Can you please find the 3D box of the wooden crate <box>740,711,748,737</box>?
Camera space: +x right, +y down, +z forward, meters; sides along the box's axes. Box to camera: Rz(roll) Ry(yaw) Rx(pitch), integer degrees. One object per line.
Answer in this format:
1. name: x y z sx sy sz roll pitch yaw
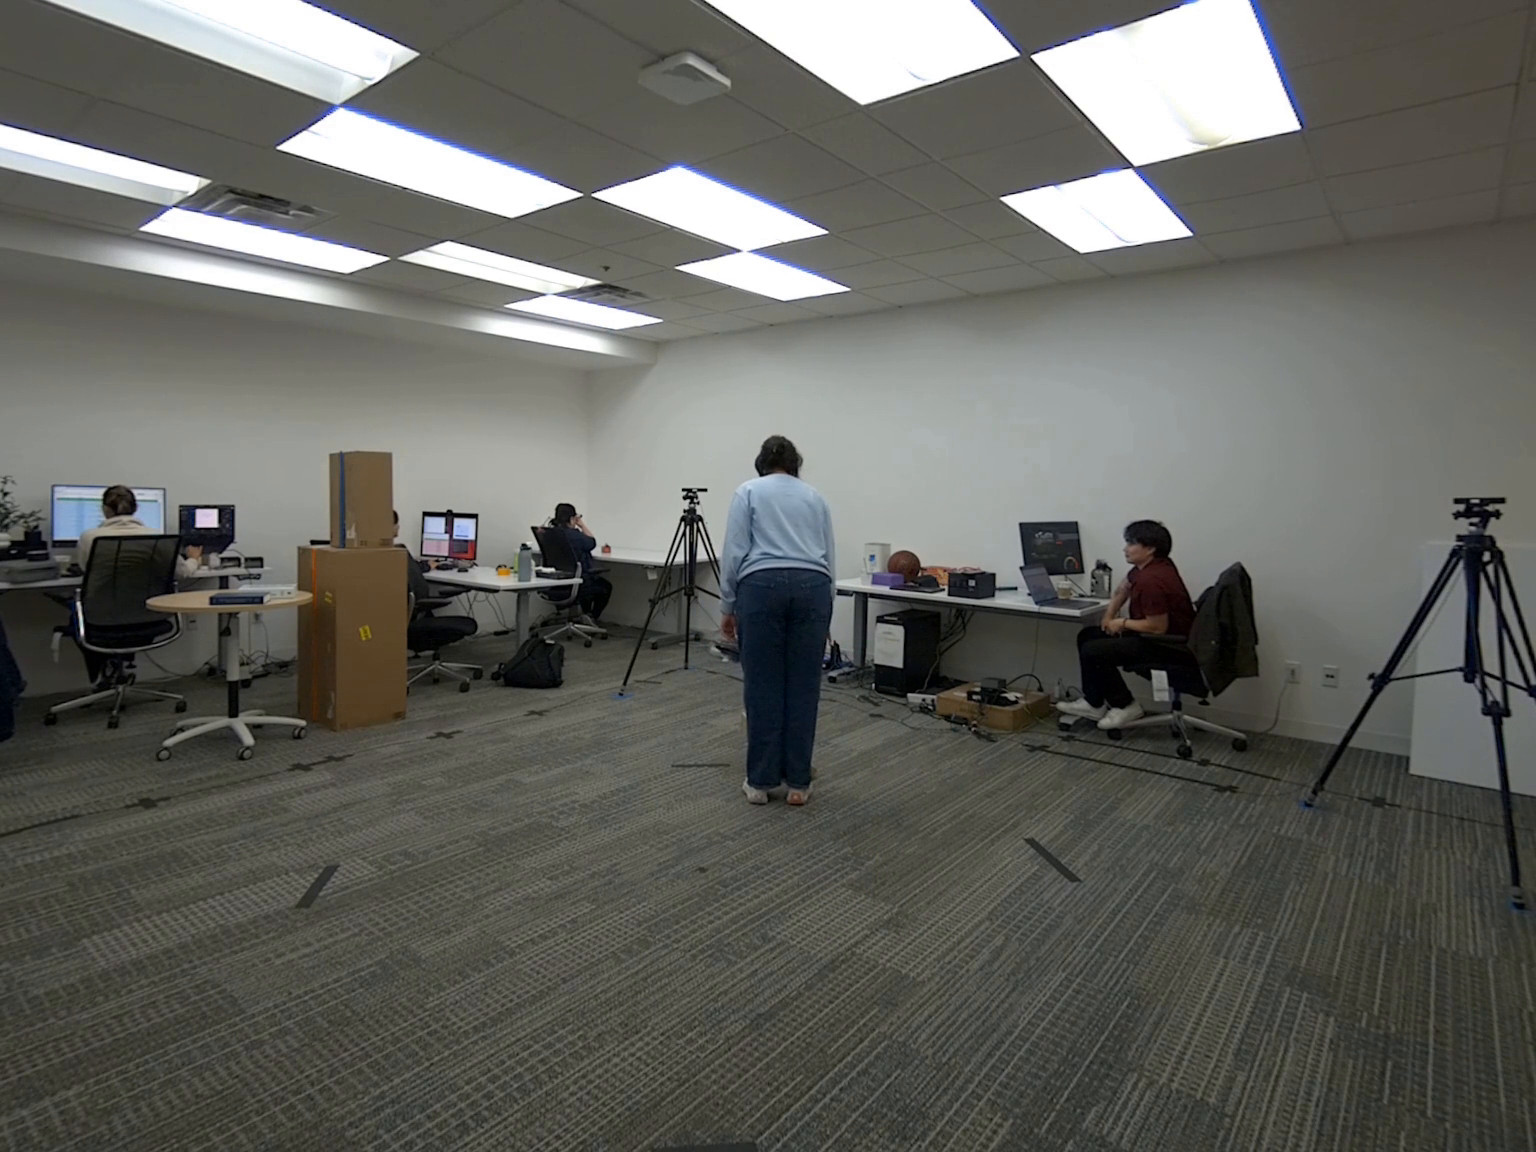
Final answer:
1. wooden crate: 0.050 0.829 4.229 0.297 0.272 0.331 -1 5 -15
